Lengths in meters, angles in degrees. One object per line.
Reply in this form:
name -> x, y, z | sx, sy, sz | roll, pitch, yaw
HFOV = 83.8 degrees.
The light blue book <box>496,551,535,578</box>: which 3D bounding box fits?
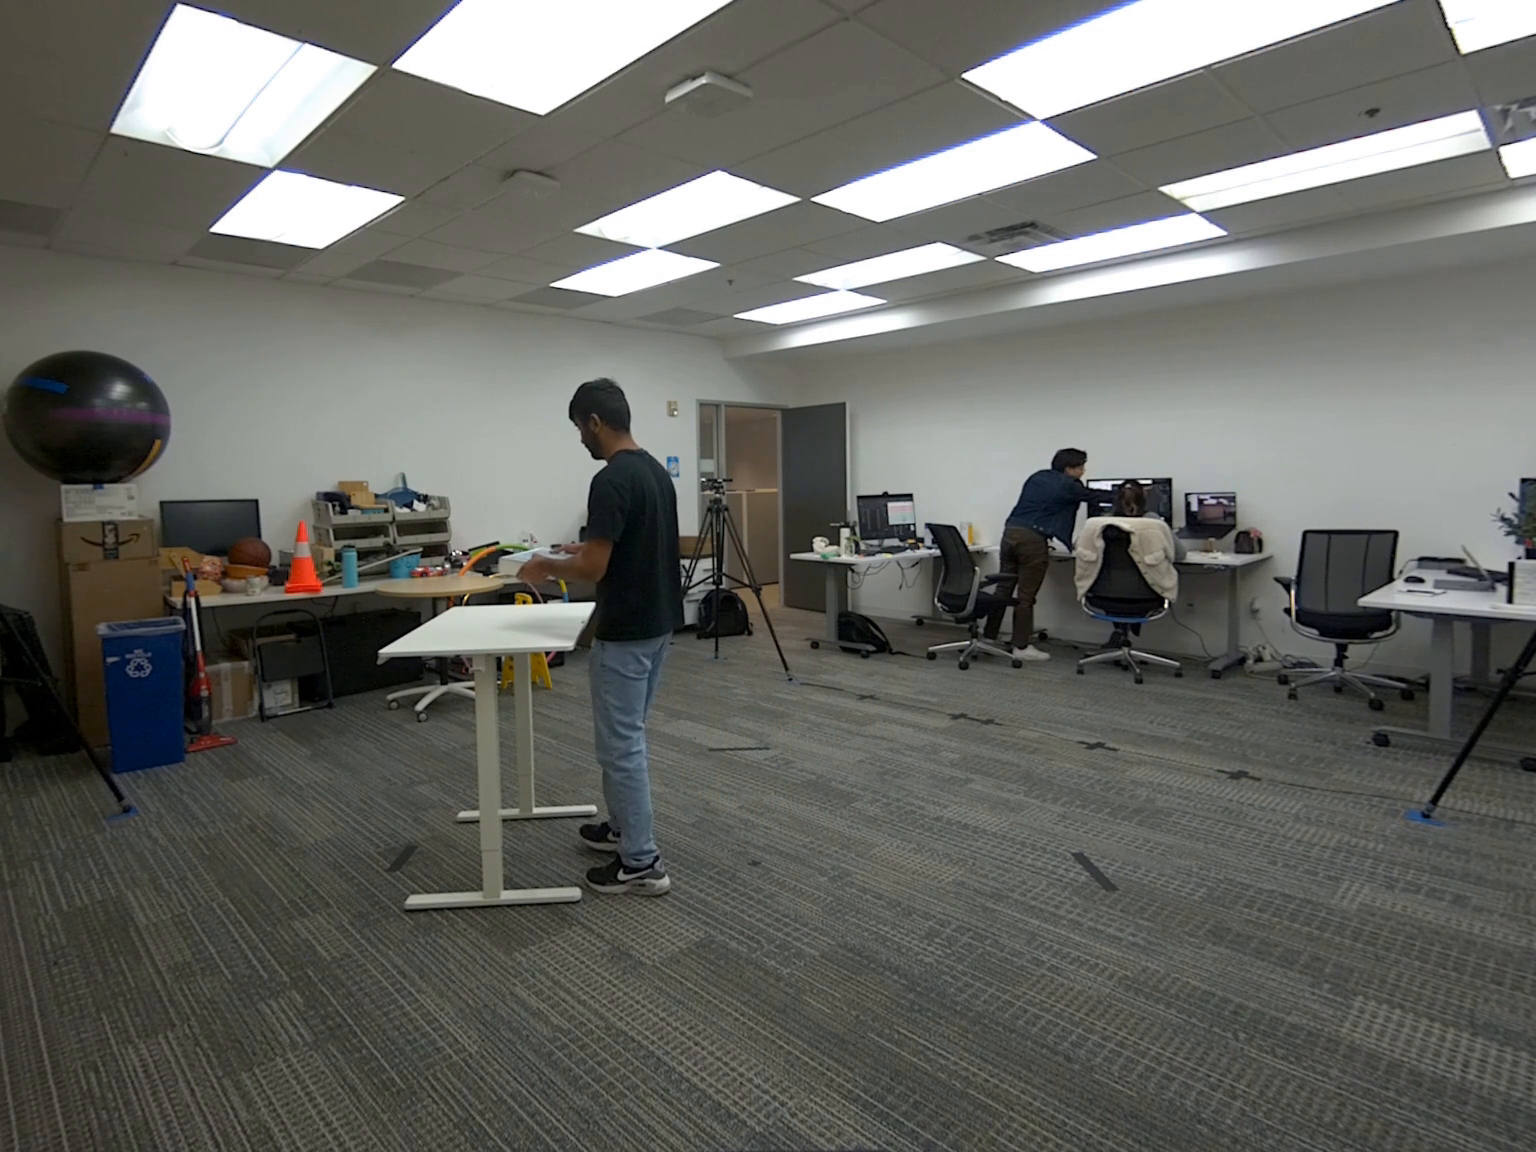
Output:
light blue book -> -0.811, -0.048, 3.097 | 0.194, 0.058, 0.258 | 6, 9, 14
